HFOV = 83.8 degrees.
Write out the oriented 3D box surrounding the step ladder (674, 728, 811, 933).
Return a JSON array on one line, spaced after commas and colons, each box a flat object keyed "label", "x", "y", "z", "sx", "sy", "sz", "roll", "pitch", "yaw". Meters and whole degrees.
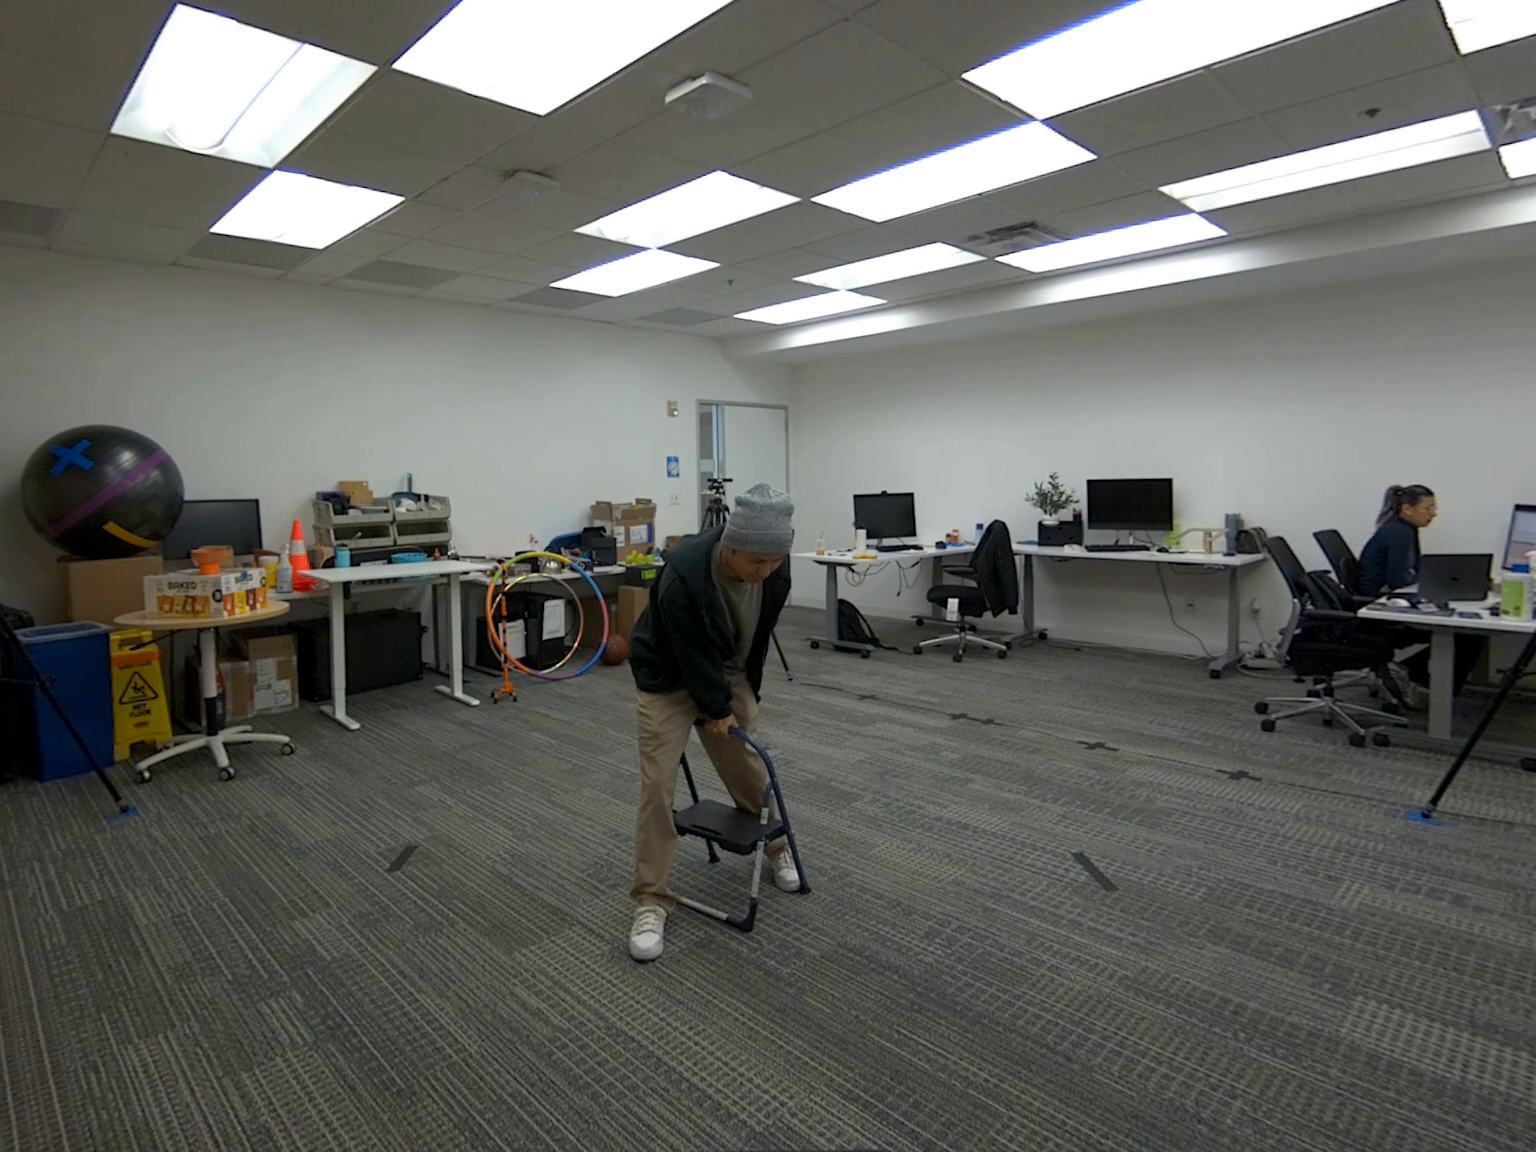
[{"label": "step ladder", "x": -0.130, "y": 0.772, "z": 2.867, "sx": 0.443, "sy": 0.603, "sz": 0.341, "roll": 3, "pitch": 6, "yaw": 36}]
